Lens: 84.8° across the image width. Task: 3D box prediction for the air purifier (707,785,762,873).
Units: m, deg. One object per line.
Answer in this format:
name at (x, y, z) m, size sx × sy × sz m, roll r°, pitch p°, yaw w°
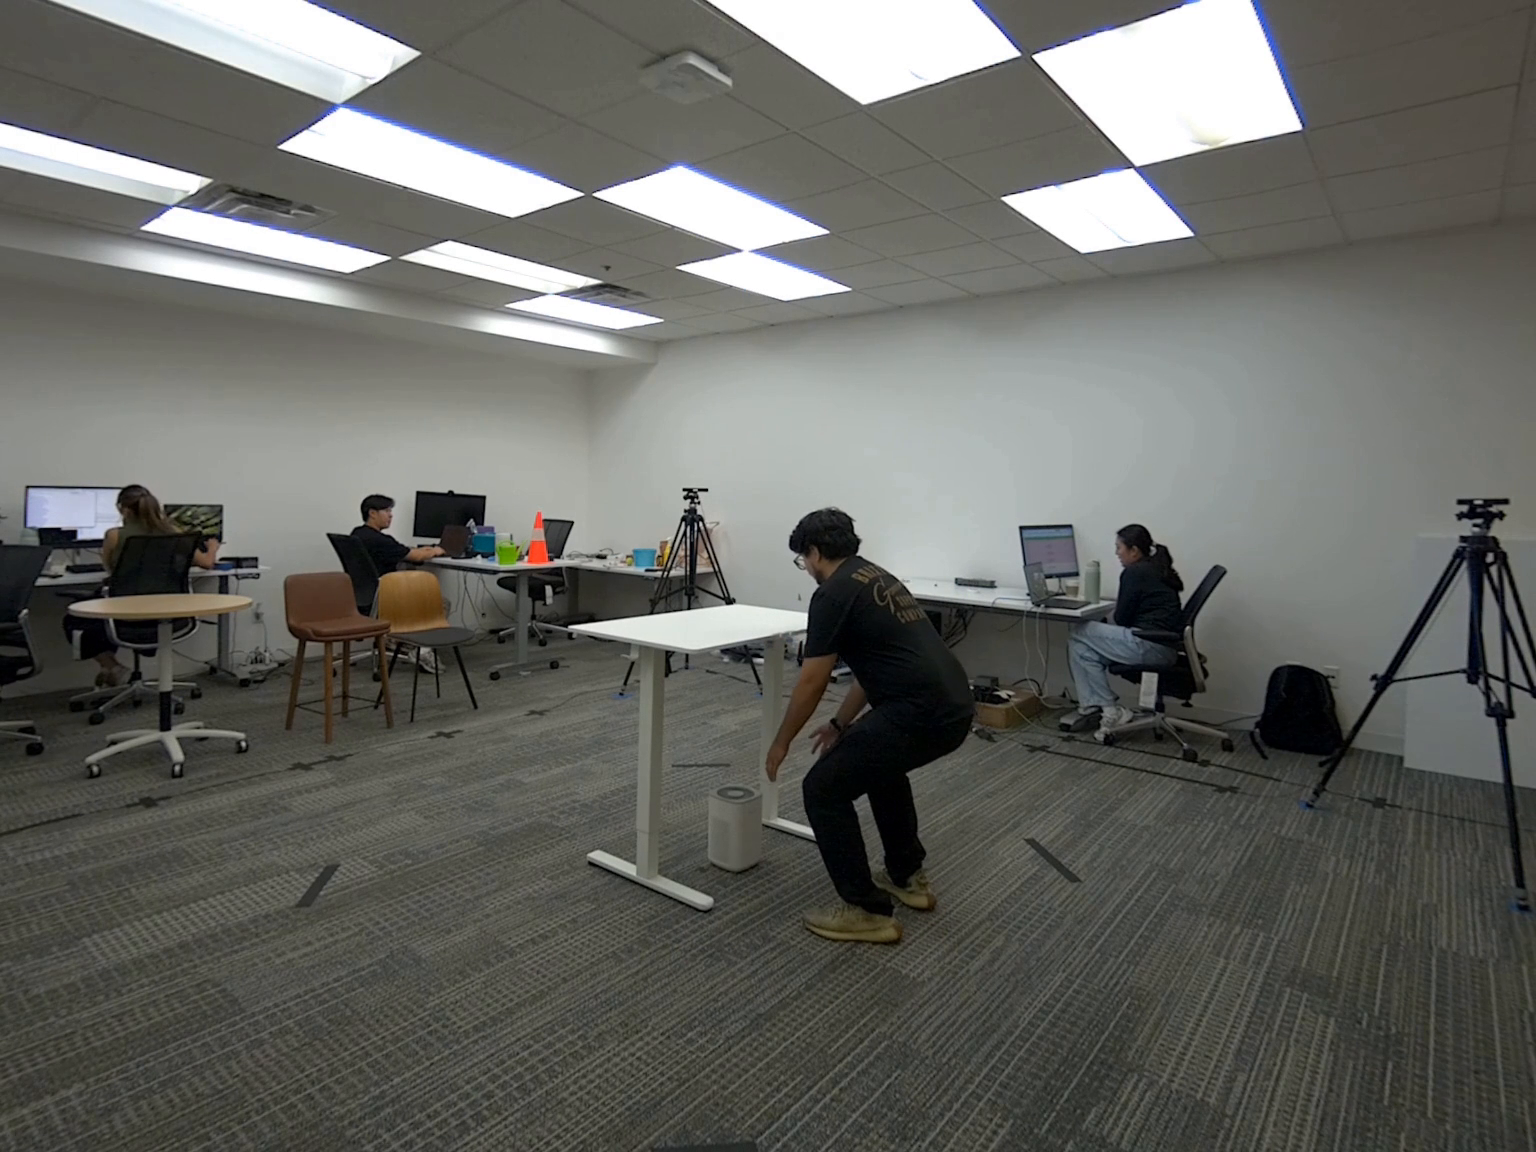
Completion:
air purifier at (-0.133, 0.929, 3.160) m, size 0.177 × 0.265 × 0.166 m, roll 3°, pitch 3°, yaw 38°
